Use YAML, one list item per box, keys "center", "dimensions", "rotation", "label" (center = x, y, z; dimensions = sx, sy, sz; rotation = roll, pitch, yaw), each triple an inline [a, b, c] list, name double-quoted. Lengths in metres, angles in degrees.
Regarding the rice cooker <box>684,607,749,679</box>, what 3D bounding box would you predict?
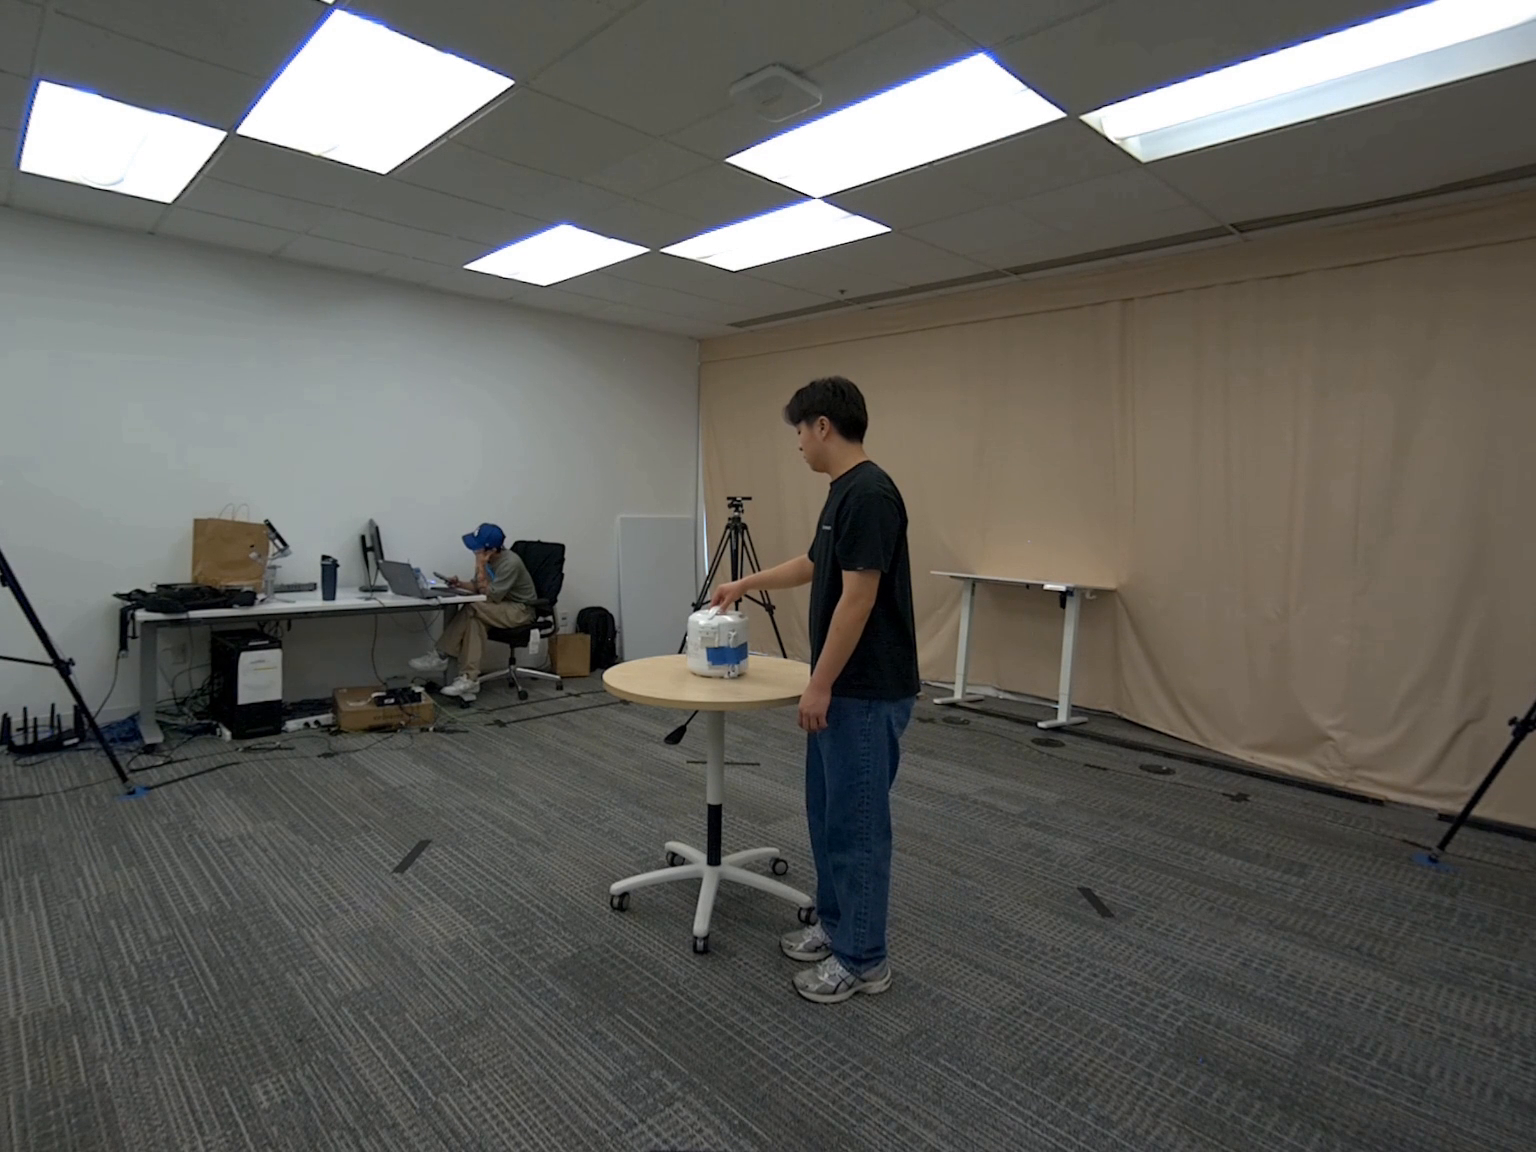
- center: [-0.174, 0.217, 2.861]
  dimensions: [0.220, 0.232, 0.218]
  rotation: [3, 5, 16]
  label: "rice cooker"
